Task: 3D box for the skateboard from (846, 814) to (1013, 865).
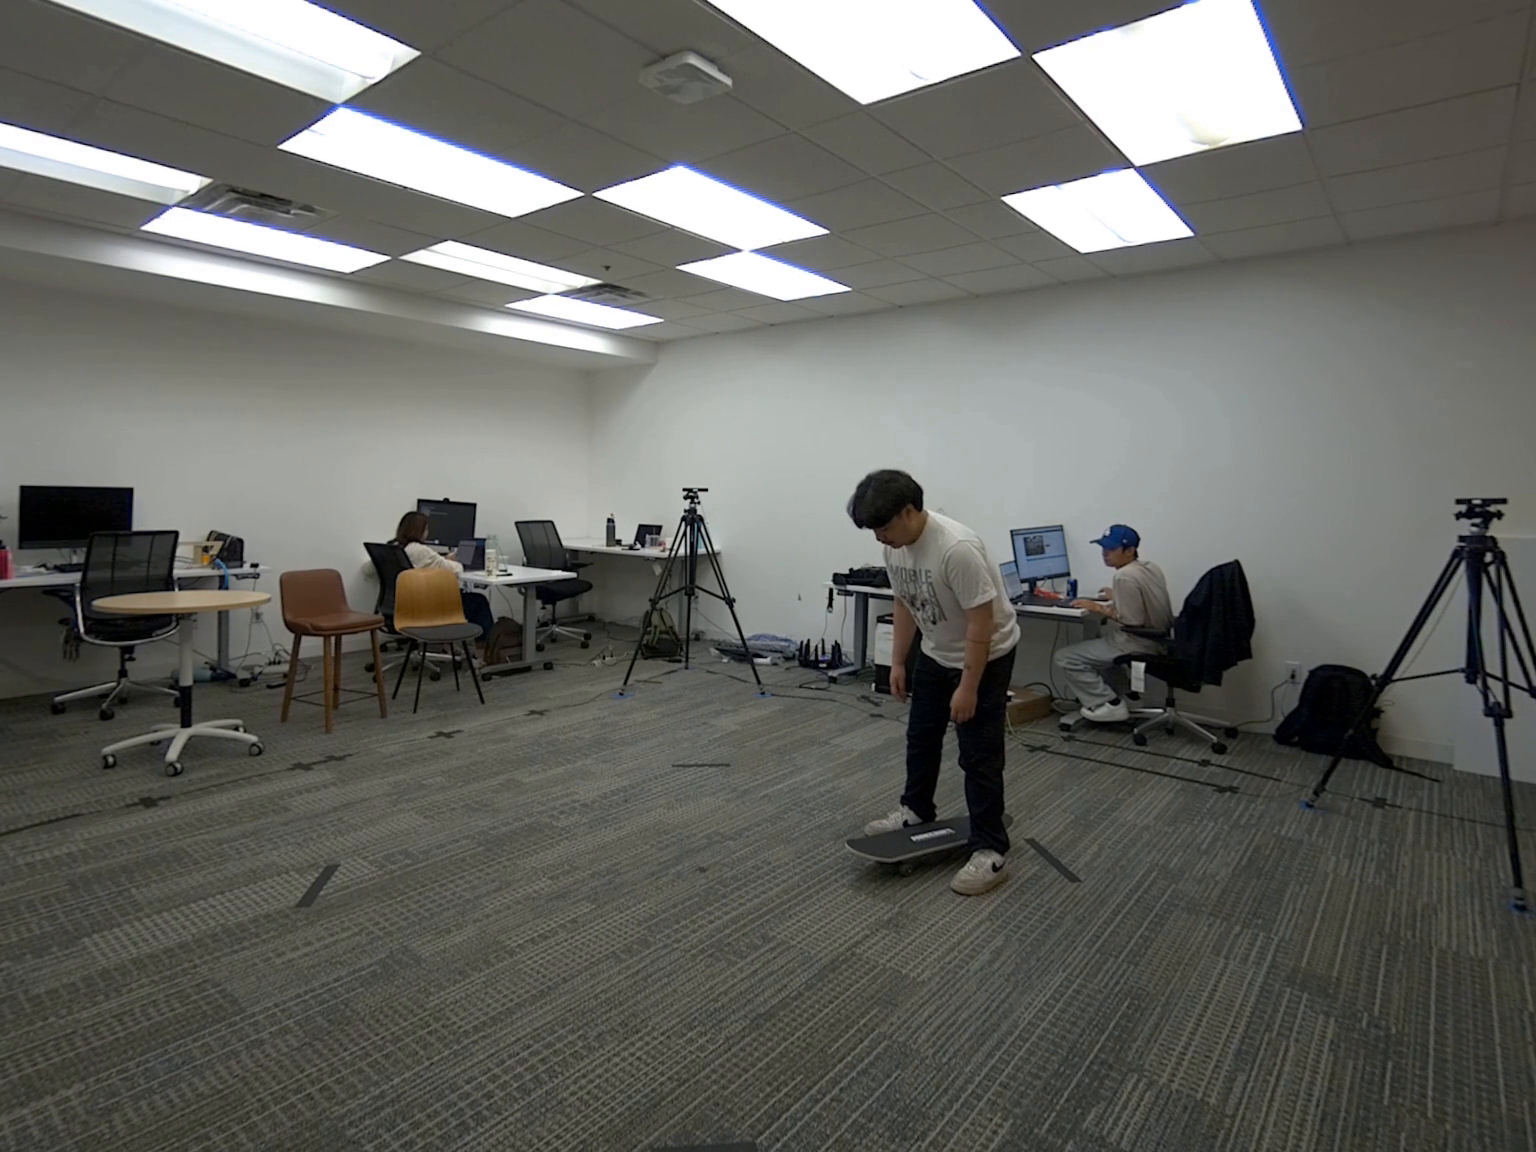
[{"bbox_3d":[0.625,1.019,3.259,0.765,0.110,0.199,-2,6,-29],"label":"skateboard"}]
